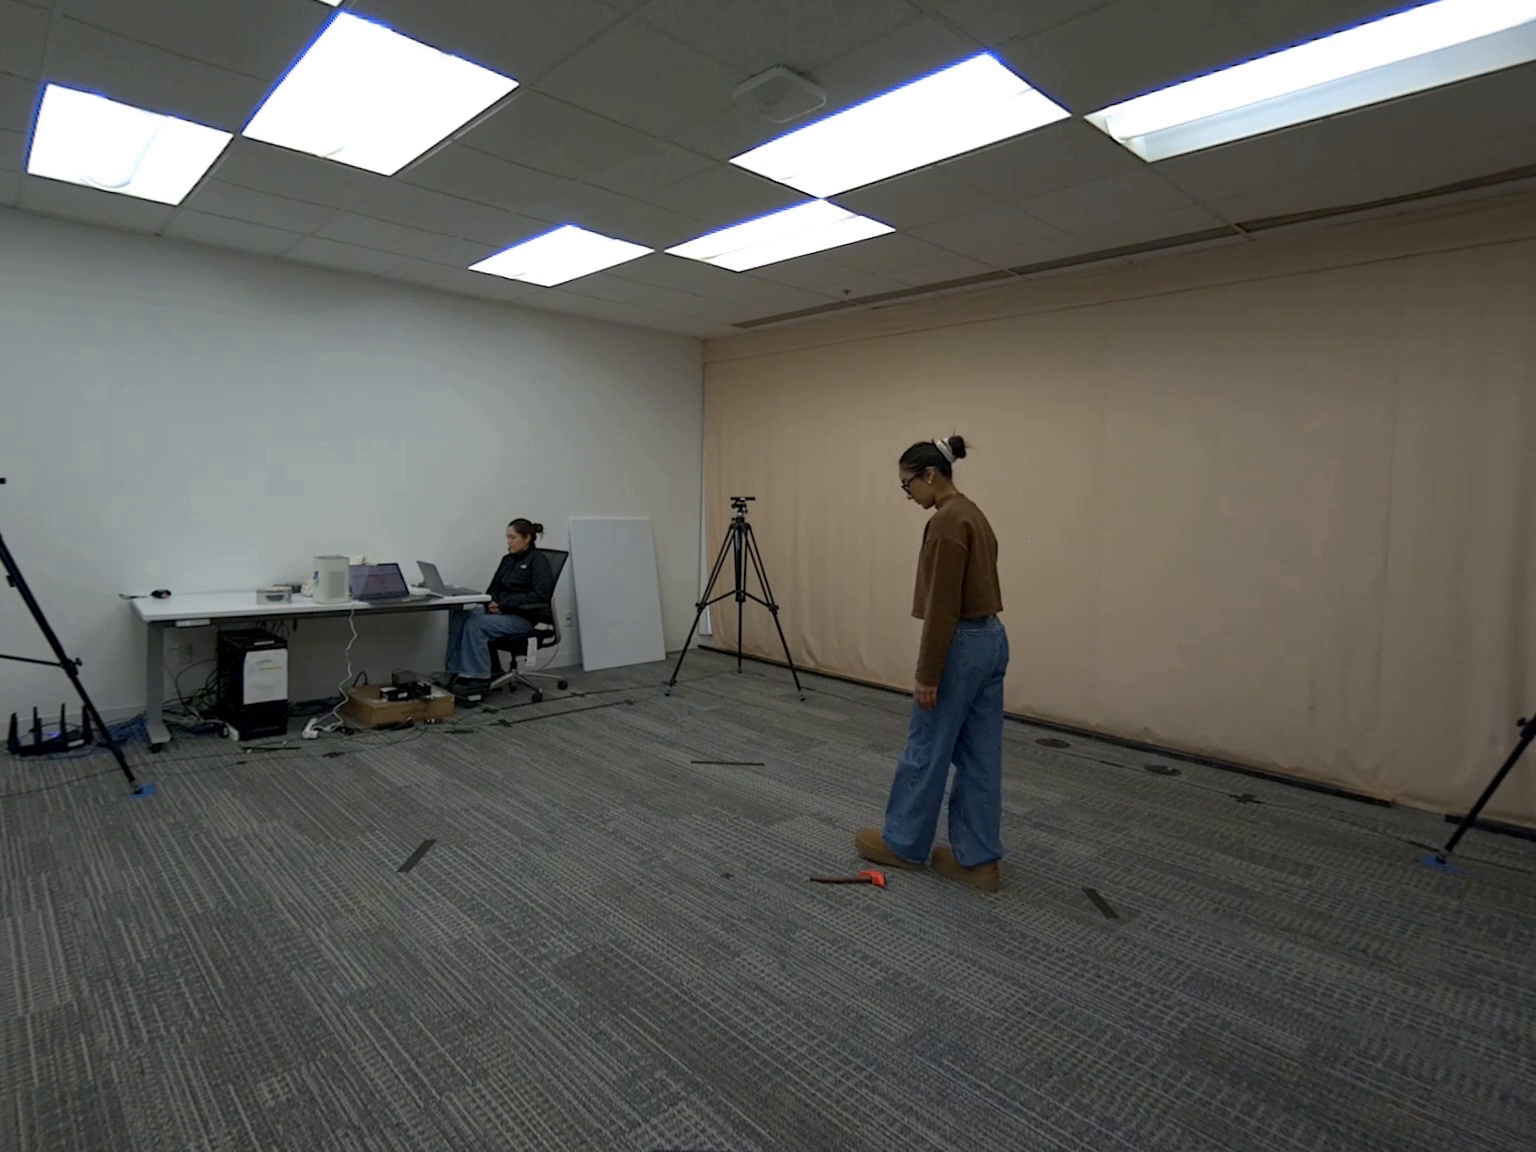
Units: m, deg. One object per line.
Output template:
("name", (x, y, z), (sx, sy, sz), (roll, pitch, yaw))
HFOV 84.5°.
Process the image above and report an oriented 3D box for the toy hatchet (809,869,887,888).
("toy hatchet", (0.287, 1.106, 3.104), (0.273, 0.029, 0.130), (0, 4, 12))
